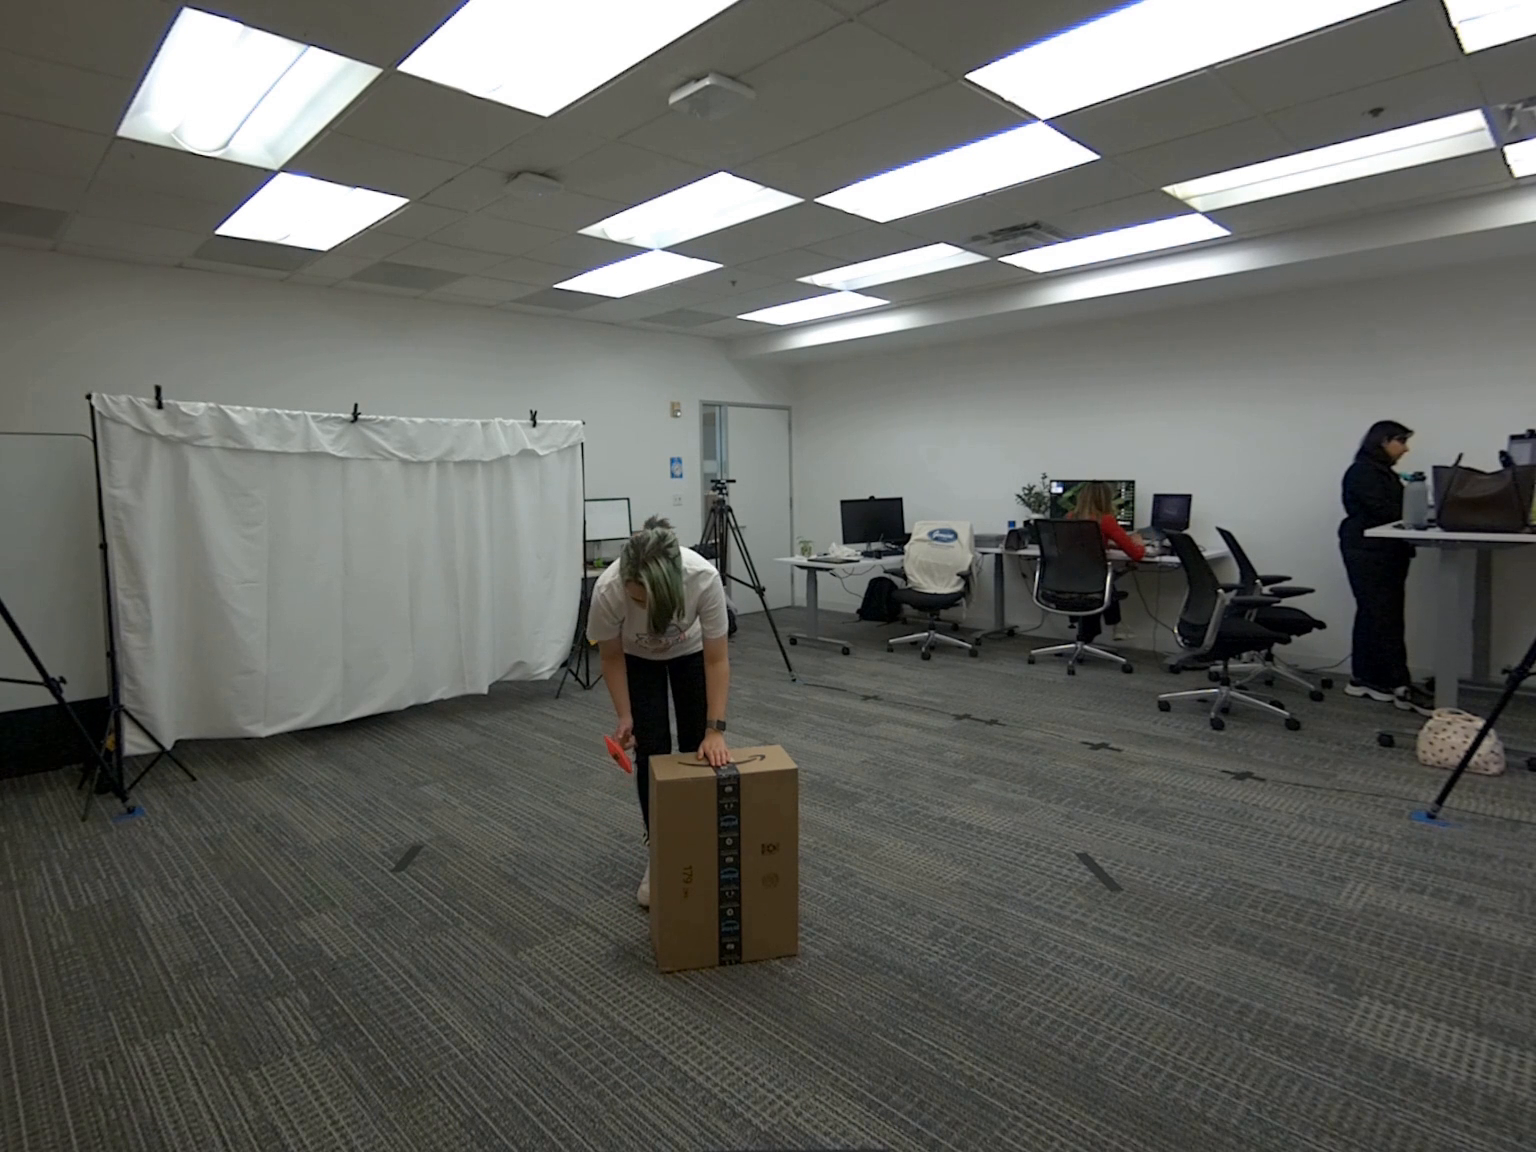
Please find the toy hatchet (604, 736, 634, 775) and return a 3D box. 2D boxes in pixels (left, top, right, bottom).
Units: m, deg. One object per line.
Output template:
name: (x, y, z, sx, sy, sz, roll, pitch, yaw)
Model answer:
toy hatchet: (-0.417, 0.531, 2.572, 0.029, 0.134, 0.264, -35, -15, 3)
